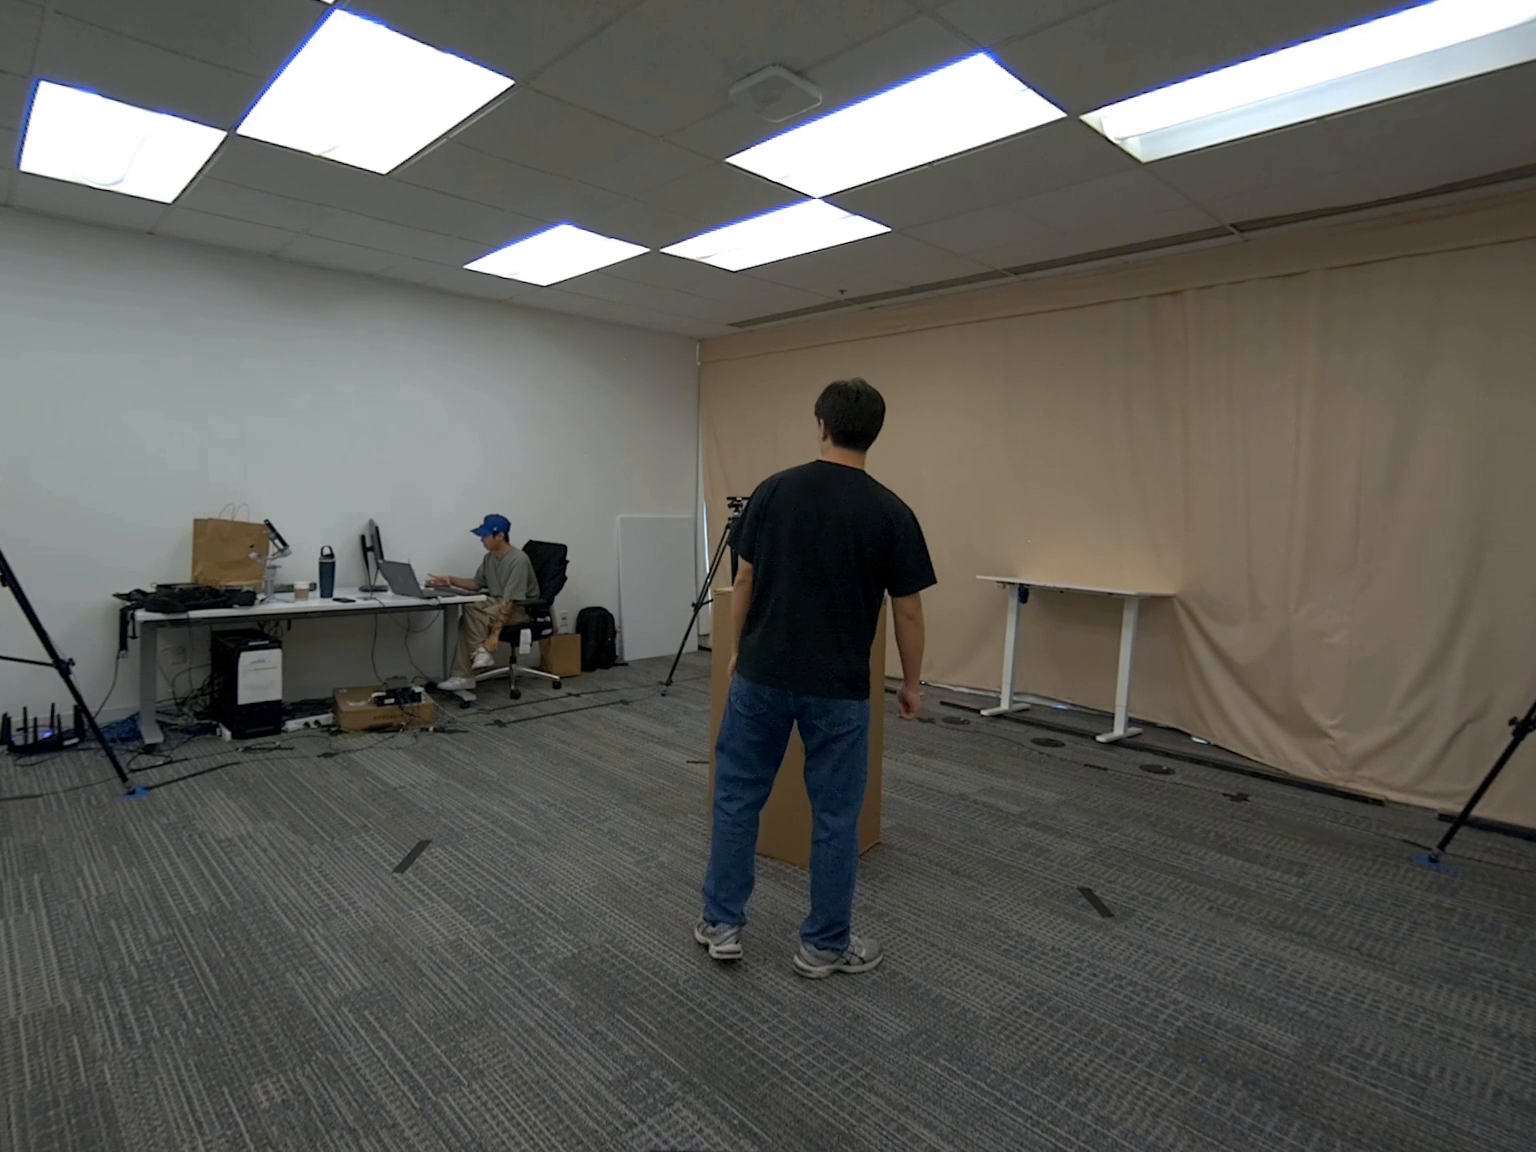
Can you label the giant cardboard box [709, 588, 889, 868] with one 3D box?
[{"bbox_3d":[0.120,0.576,3.430,0.598,1.025,0.437,4,3,36],"label":"giant cardboard box"}]
